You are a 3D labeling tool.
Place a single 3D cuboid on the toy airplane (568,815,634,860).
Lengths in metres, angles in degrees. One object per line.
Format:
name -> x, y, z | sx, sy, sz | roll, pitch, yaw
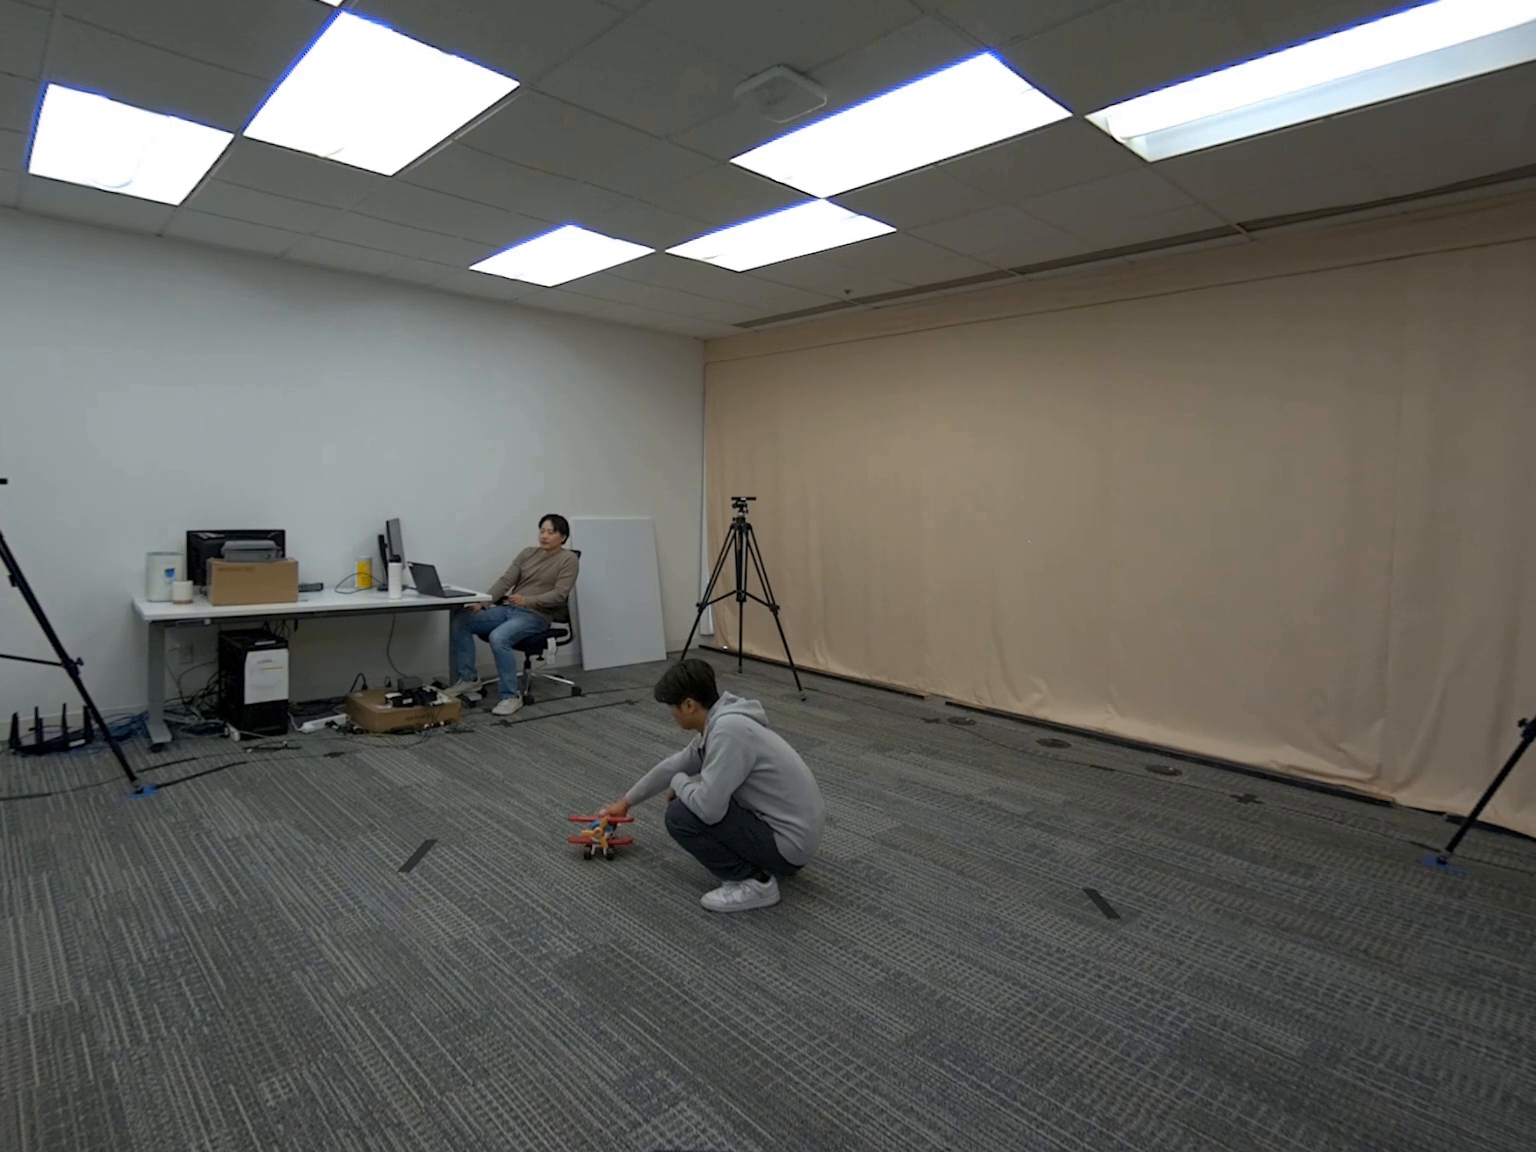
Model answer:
toy airplane -> -0.672, 0.999, 3.299 | 0.246, 0.156, 0.265 | -1, 6, -29
